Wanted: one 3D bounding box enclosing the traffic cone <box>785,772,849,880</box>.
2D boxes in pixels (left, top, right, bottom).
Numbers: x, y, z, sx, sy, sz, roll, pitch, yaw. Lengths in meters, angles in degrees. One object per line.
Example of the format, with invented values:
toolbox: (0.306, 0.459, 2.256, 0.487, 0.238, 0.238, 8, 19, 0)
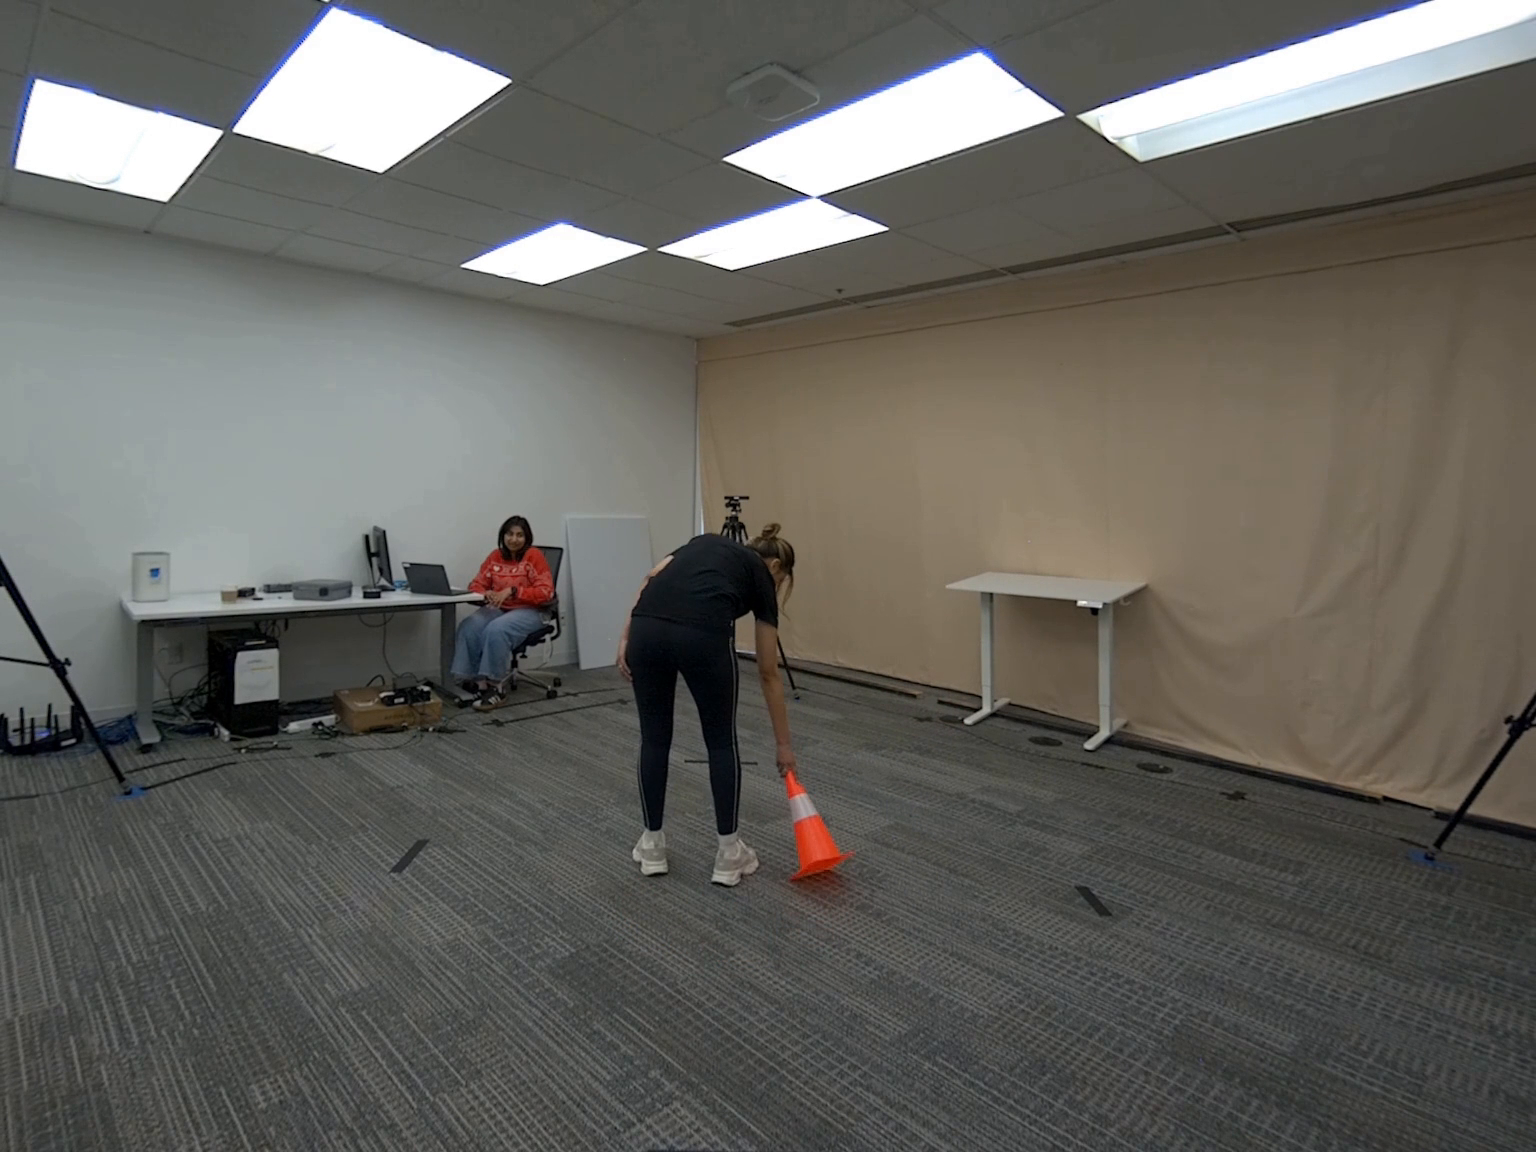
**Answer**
traffic cone: (0.120, 0.900, 3.145, 0.200, 0.393, 0.203, -4, -34, -24)
